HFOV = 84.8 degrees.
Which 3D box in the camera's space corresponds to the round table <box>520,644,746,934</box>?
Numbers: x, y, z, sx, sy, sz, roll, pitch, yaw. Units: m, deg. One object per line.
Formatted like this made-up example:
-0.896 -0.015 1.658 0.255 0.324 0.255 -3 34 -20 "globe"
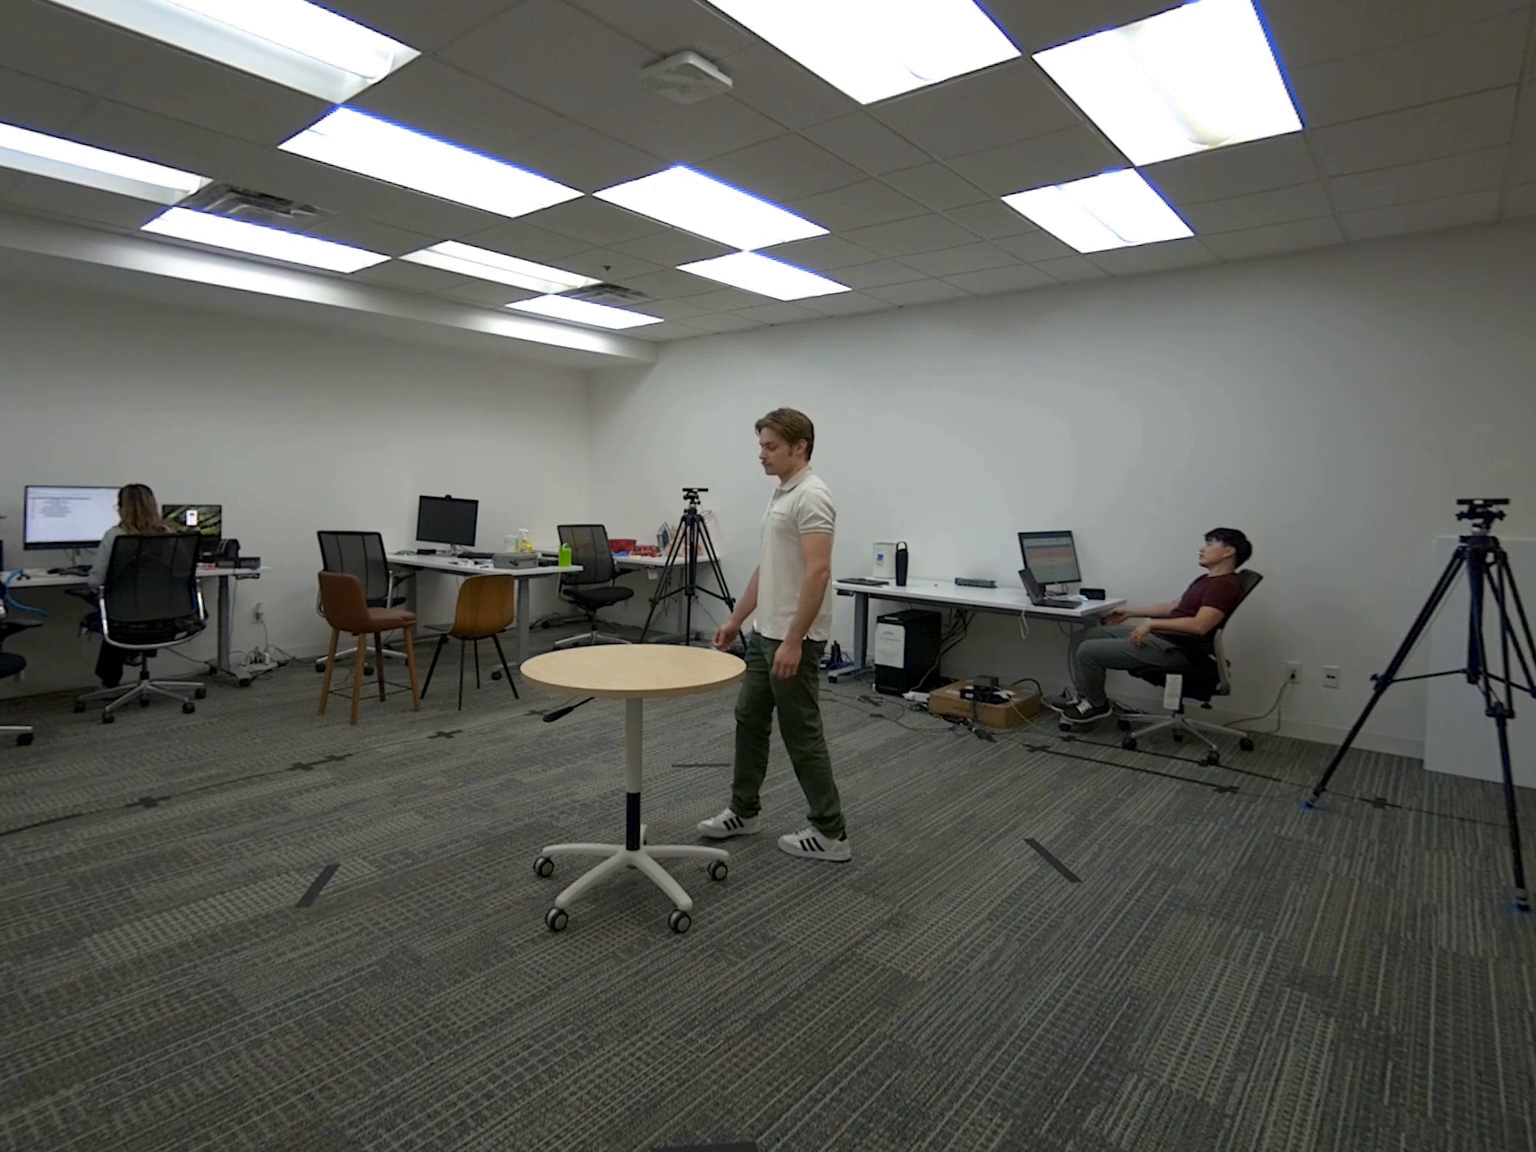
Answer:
-0.473 0.694 2.930 0.763 0.791 0.768 0 4 -2 "round table"
